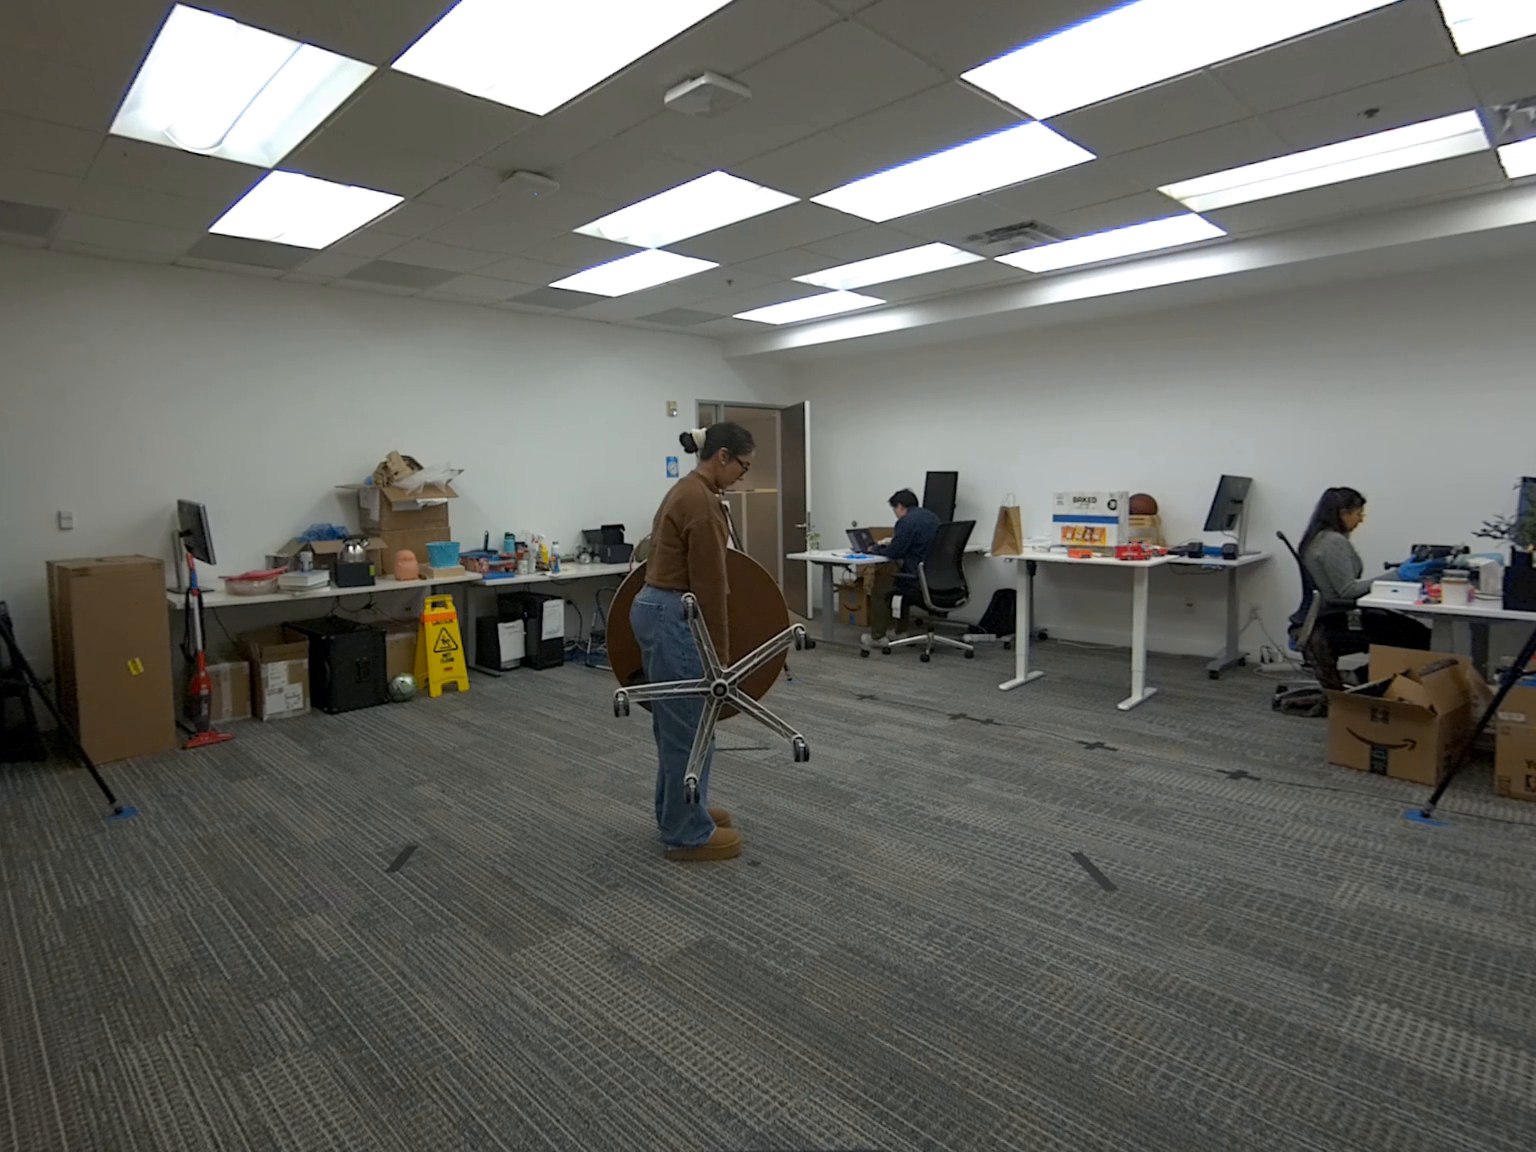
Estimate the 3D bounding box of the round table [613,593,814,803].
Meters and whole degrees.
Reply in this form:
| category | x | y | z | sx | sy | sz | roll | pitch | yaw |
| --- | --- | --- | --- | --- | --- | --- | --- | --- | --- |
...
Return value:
| category | x | y | z | sx | sy | sz | roll | pitch | yaw |
| --- | --- | --- | --- | --- | --- | --- | --- | --- | --- |
| round table | -0.213 | 0.330 | 3.150 | 0.757 | 0.757 | 0.808 | -2 | 11 | -10 |
